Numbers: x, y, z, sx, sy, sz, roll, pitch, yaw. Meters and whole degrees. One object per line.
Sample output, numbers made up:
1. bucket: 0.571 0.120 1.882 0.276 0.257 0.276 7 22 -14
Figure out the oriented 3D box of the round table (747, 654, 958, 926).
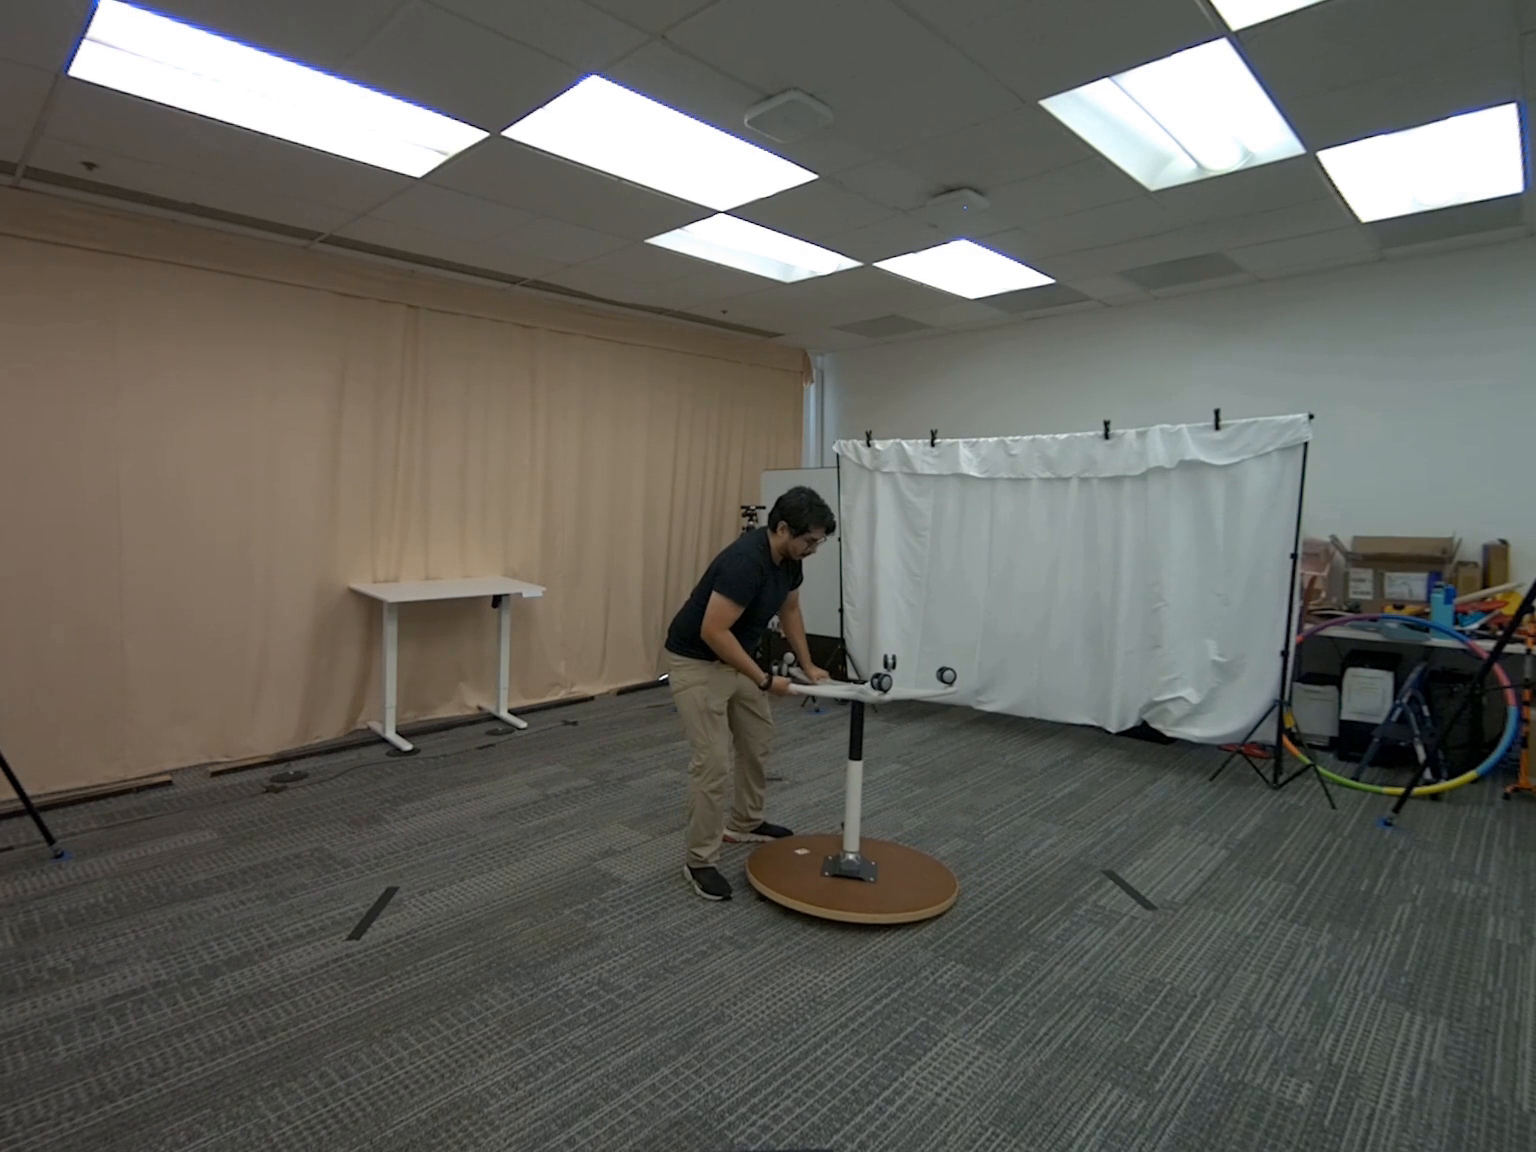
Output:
1. round table: 0.331 0.713 3.096 0.784 0.786 0.787 2 2 -2
